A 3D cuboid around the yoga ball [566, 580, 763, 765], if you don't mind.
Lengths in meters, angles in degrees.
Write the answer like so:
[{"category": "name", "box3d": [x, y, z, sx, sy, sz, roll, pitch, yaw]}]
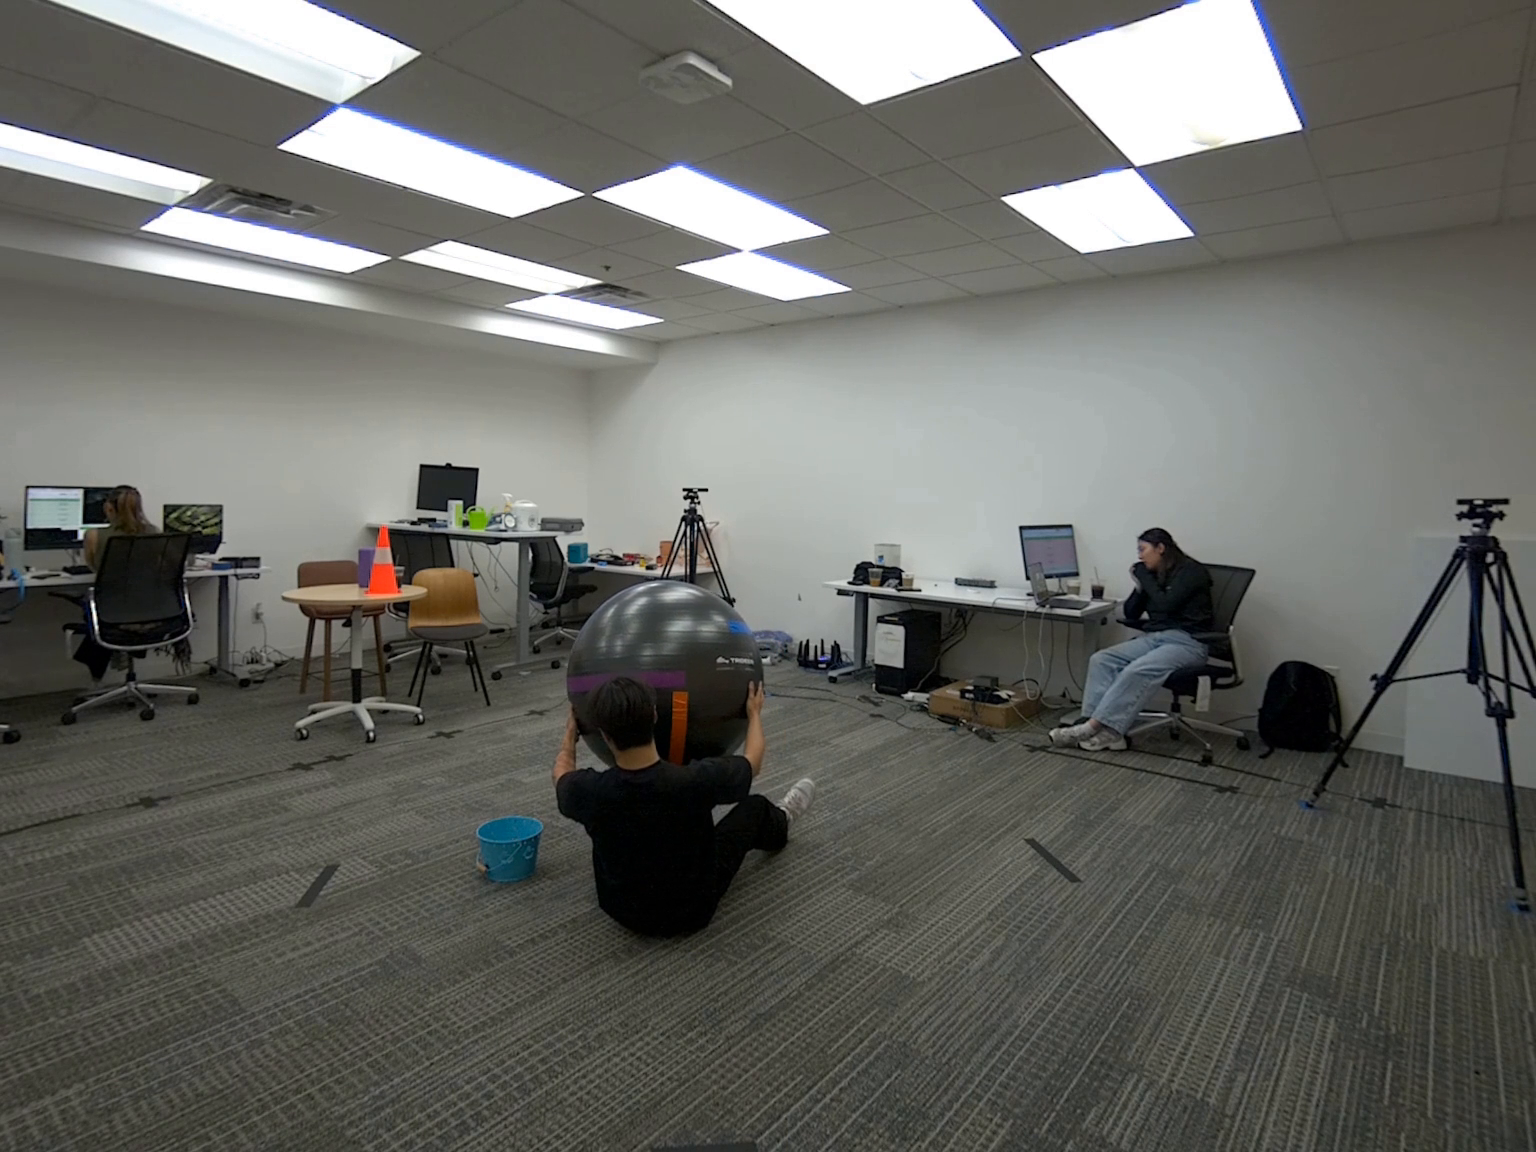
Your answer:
[{"category": "yoga ball", "box3d": [-0.411, 0.408, 3.261, 0.757, 0.755, 0.762, 1, 4, -2]}]
